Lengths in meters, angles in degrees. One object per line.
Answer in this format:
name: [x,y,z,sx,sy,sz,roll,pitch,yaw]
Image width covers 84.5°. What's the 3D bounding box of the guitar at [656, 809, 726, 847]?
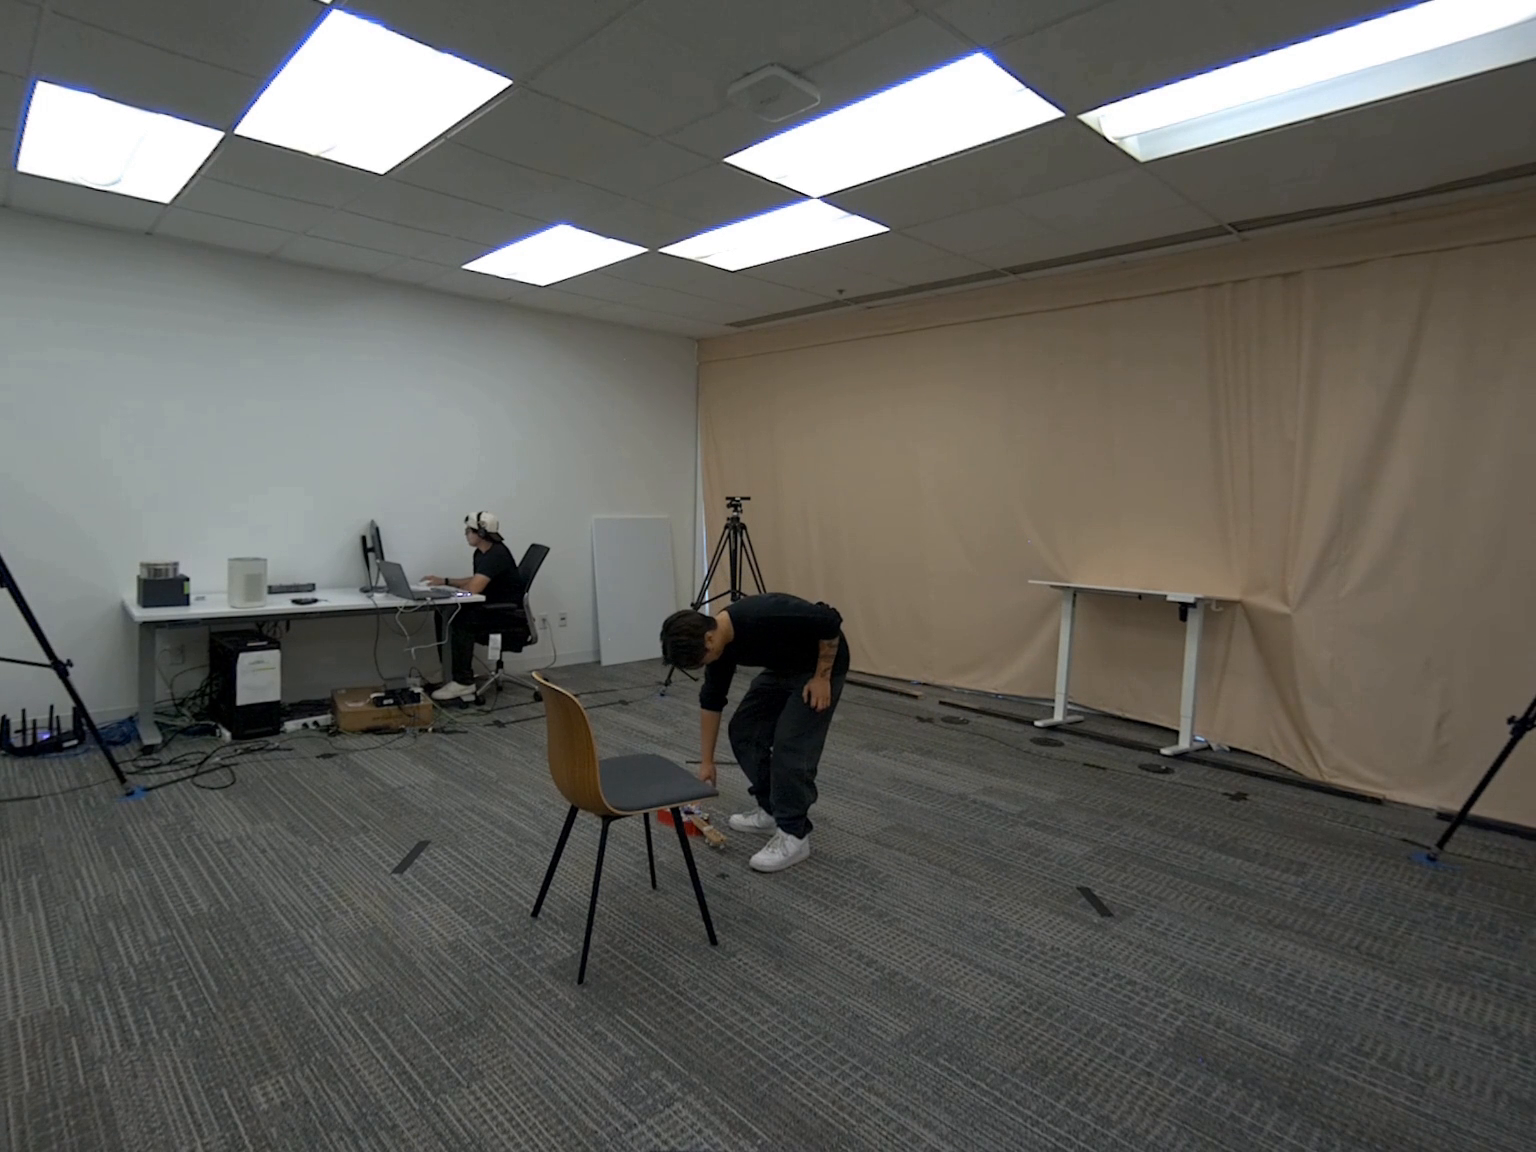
guitar: [-0.330,1.030,3.491,0.190,0.070,0.506,-1,5,-18]
